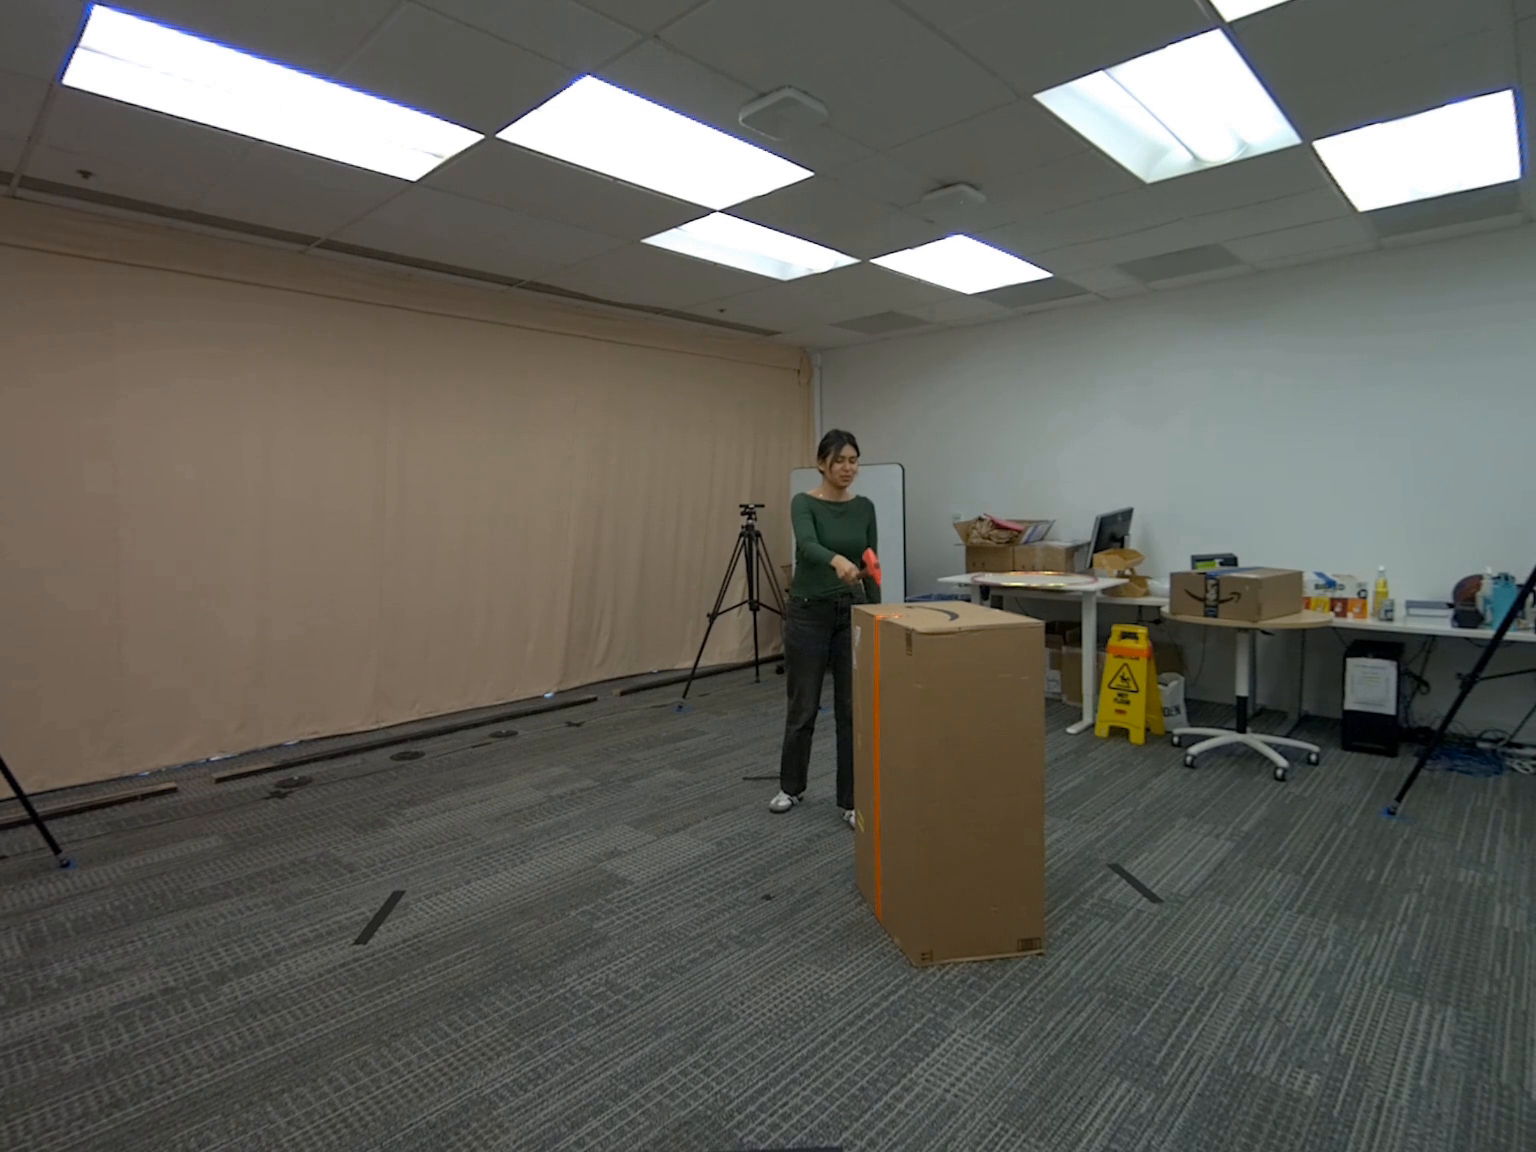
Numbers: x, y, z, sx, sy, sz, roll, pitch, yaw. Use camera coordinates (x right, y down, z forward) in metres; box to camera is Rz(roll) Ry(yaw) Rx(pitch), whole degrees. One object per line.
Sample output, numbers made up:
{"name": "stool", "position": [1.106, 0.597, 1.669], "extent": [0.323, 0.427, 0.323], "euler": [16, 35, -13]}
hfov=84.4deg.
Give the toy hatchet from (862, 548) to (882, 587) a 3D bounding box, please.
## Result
{"name": "toy hatchet", "position": [0.338, -0.042, 3.026], "extent": [0.029, 0.130, 0.275], "euler": [-9, 8, -17]}
